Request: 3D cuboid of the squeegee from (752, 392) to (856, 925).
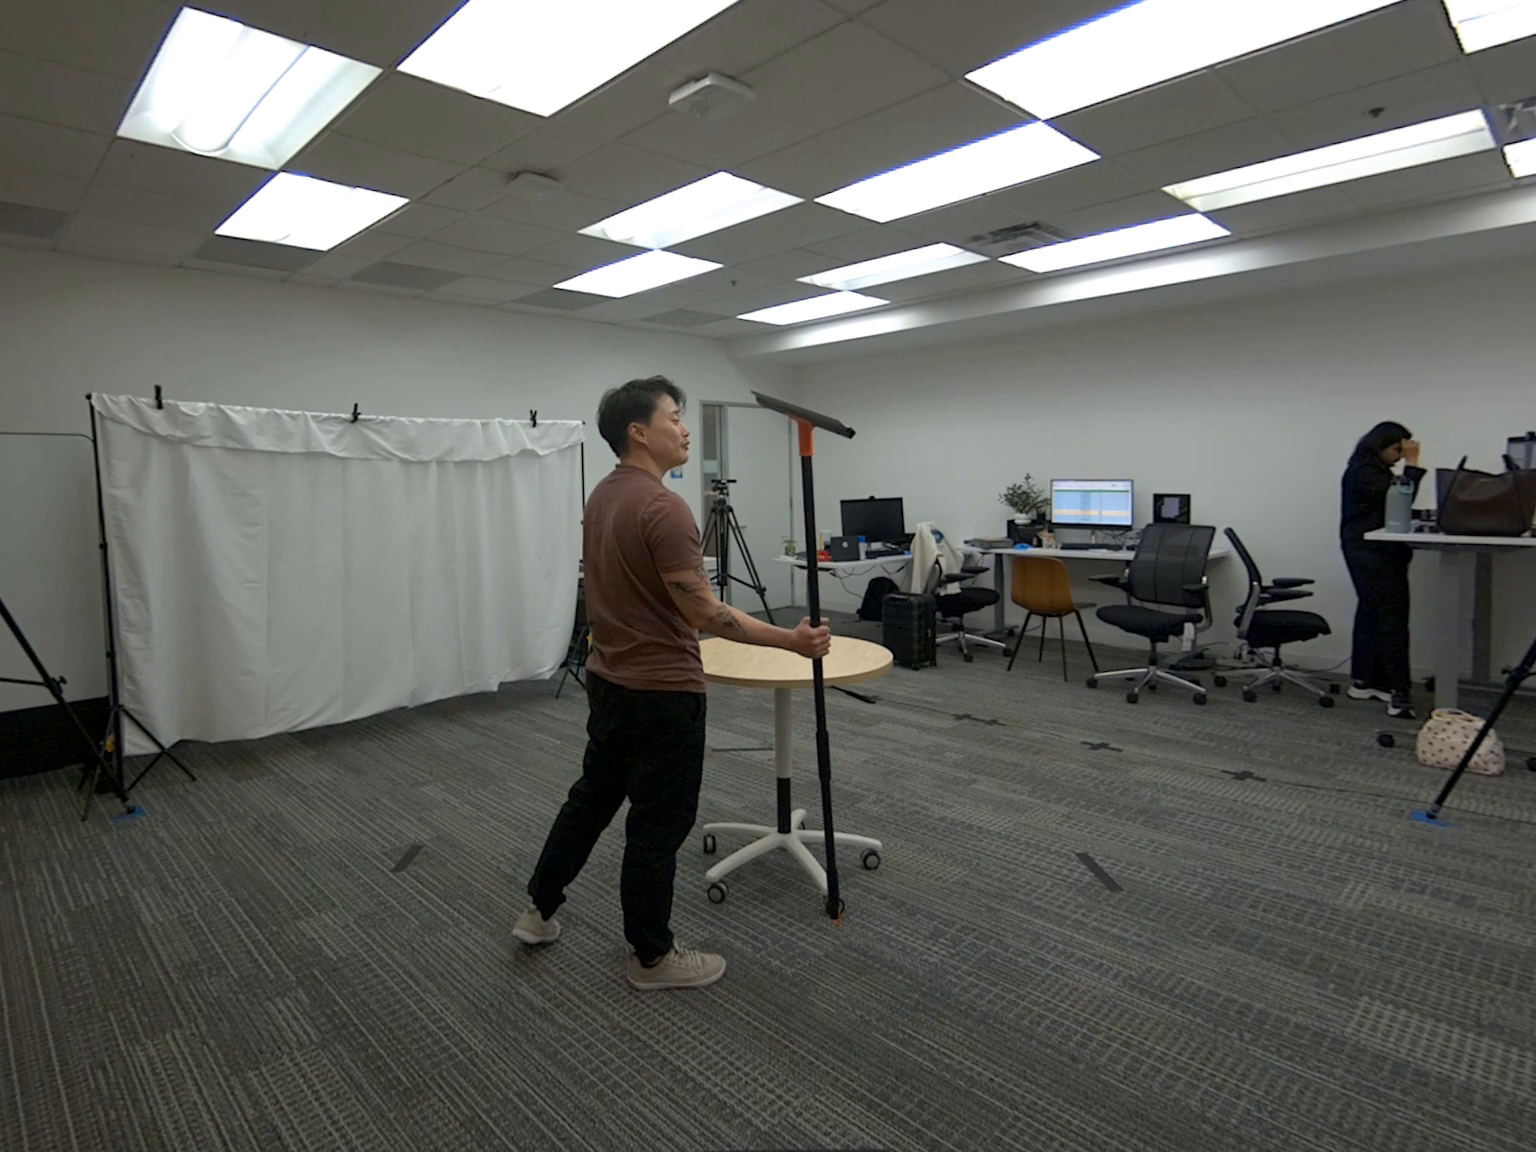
[{"bbox_3d":[0.143,0.300,2.238,0.052,1.506,0.453,-15,24,-22],"label":"squeegee"}]
